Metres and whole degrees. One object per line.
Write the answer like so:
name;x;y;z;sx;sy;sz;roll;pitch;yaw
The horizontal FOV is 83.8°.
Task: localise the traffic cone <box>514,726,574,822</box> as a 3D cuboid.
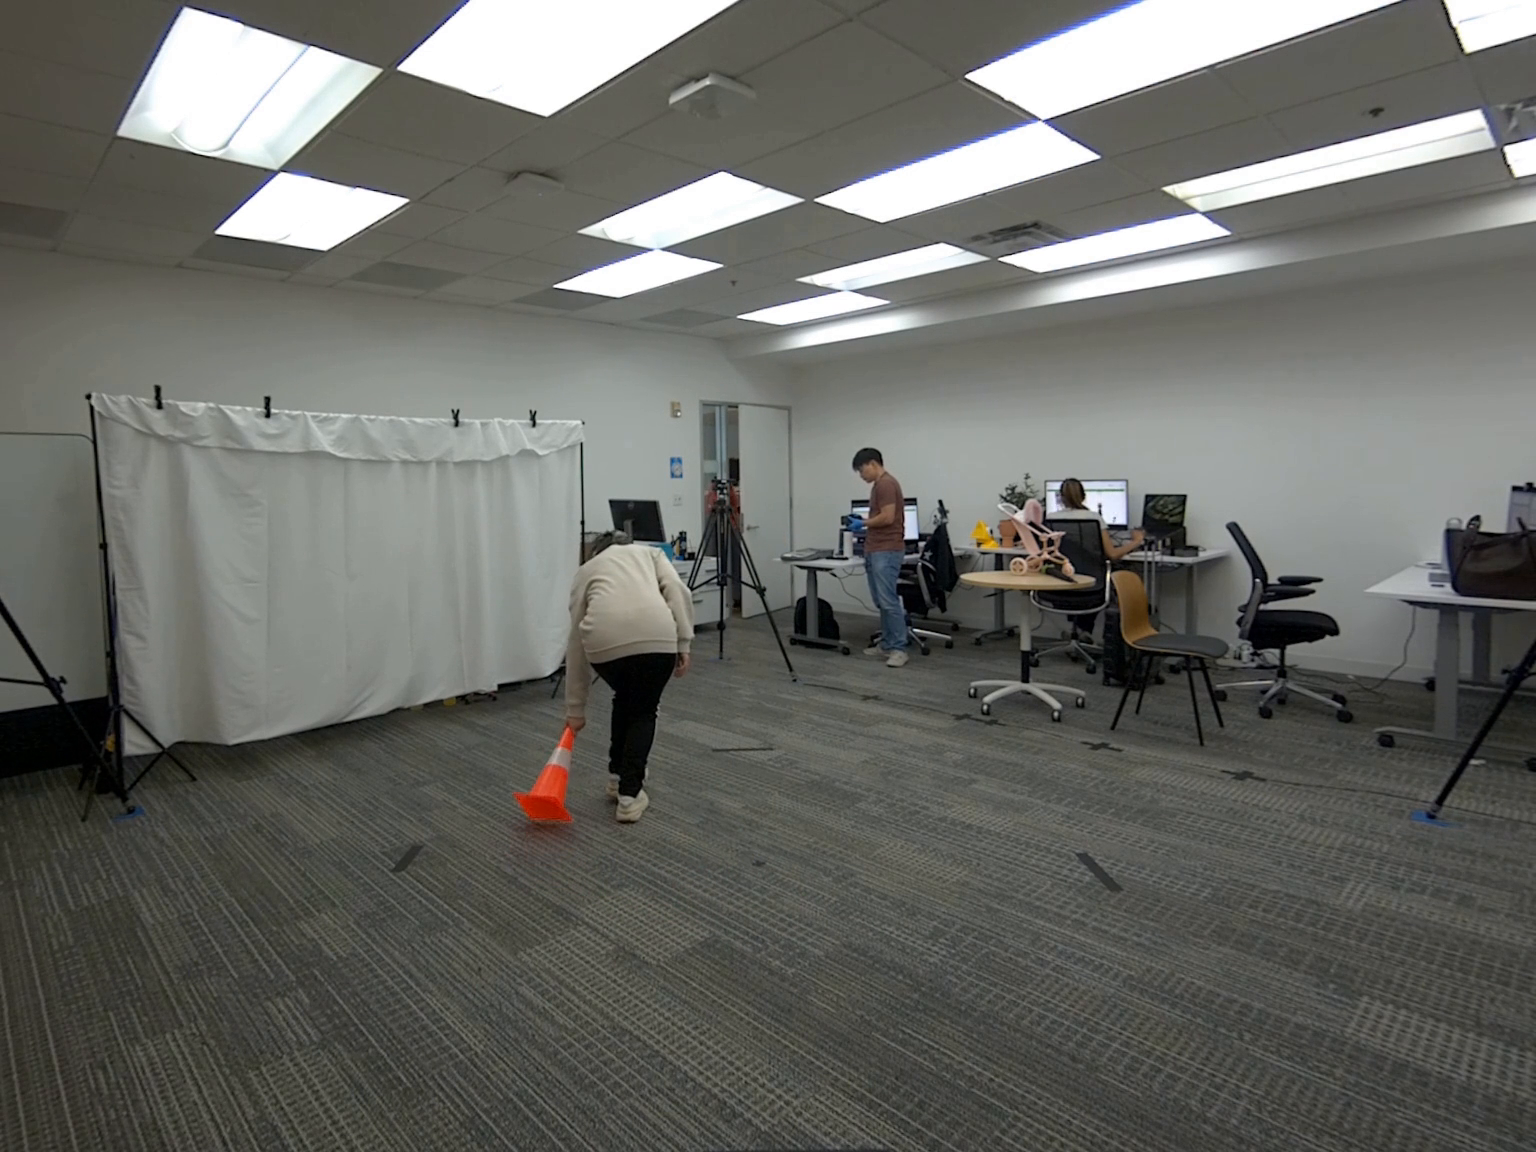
traffic cone;-0.888;0.810;3.587;0.208;0.196;0.392;-7;45;16
